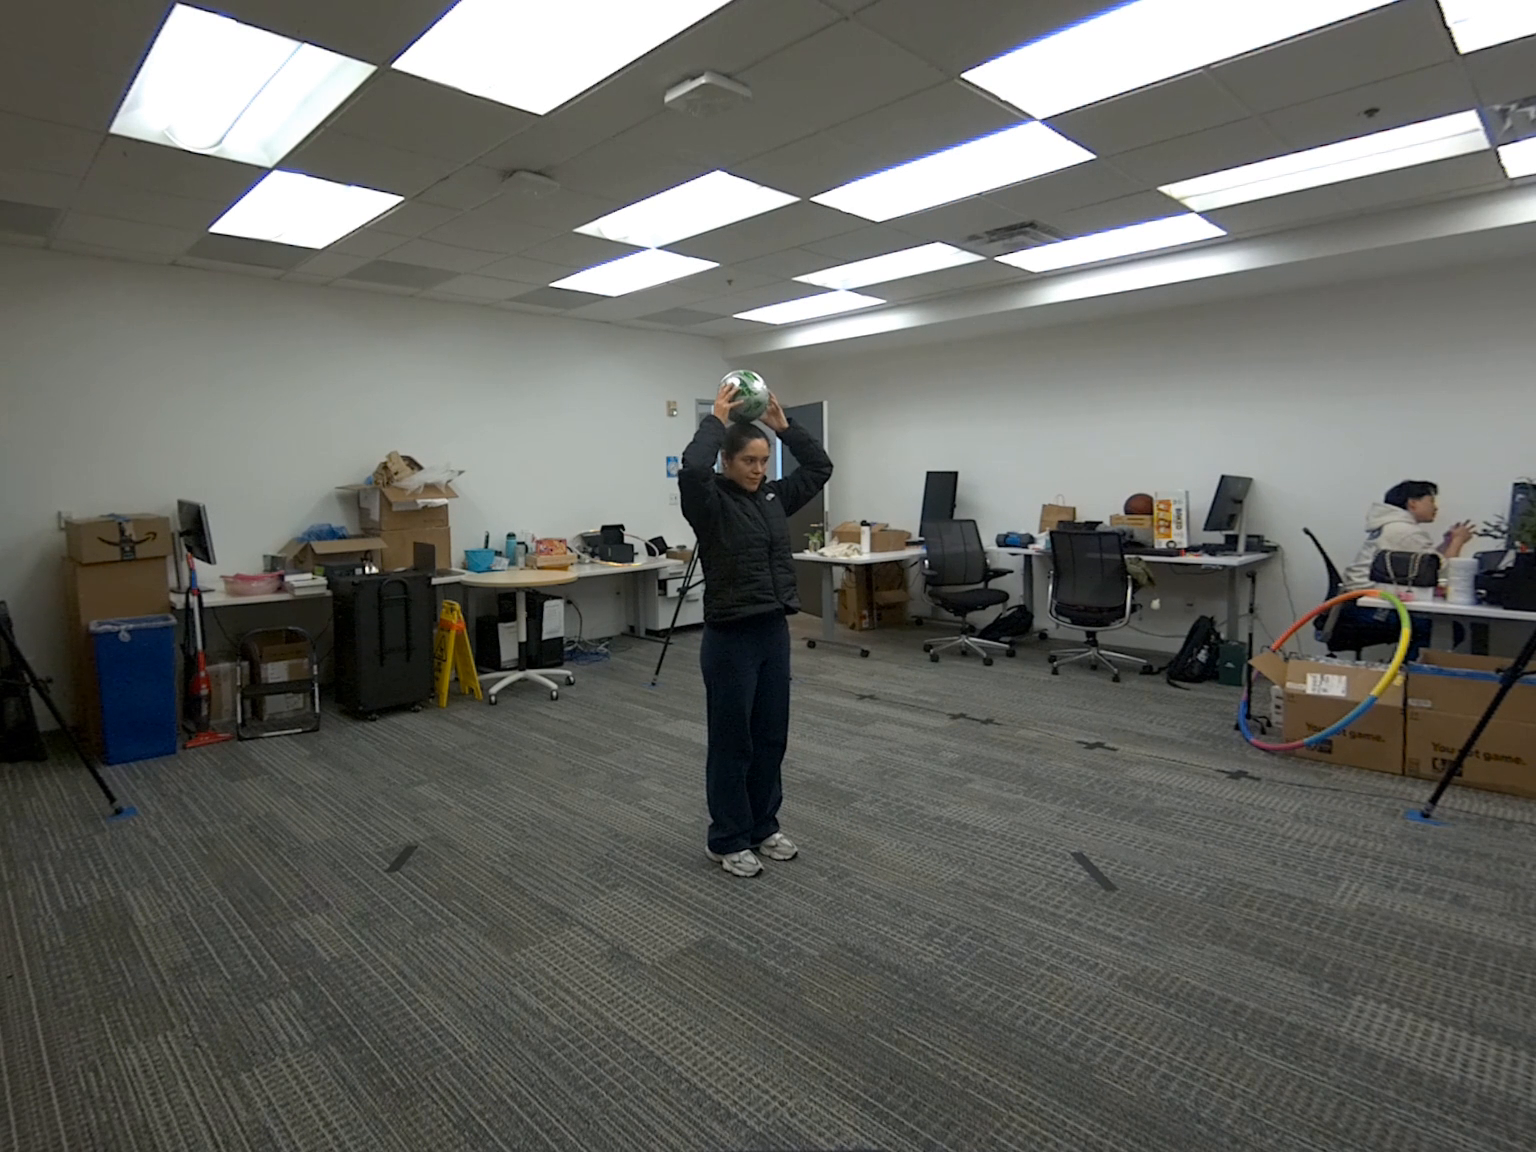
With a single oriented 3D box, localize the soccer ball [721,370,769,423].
[{"bbox_3d":[-0.090,-0.634,3.034,0.187,0.187,0.188,-1,5,-2],"label":"soccer ball"}]
